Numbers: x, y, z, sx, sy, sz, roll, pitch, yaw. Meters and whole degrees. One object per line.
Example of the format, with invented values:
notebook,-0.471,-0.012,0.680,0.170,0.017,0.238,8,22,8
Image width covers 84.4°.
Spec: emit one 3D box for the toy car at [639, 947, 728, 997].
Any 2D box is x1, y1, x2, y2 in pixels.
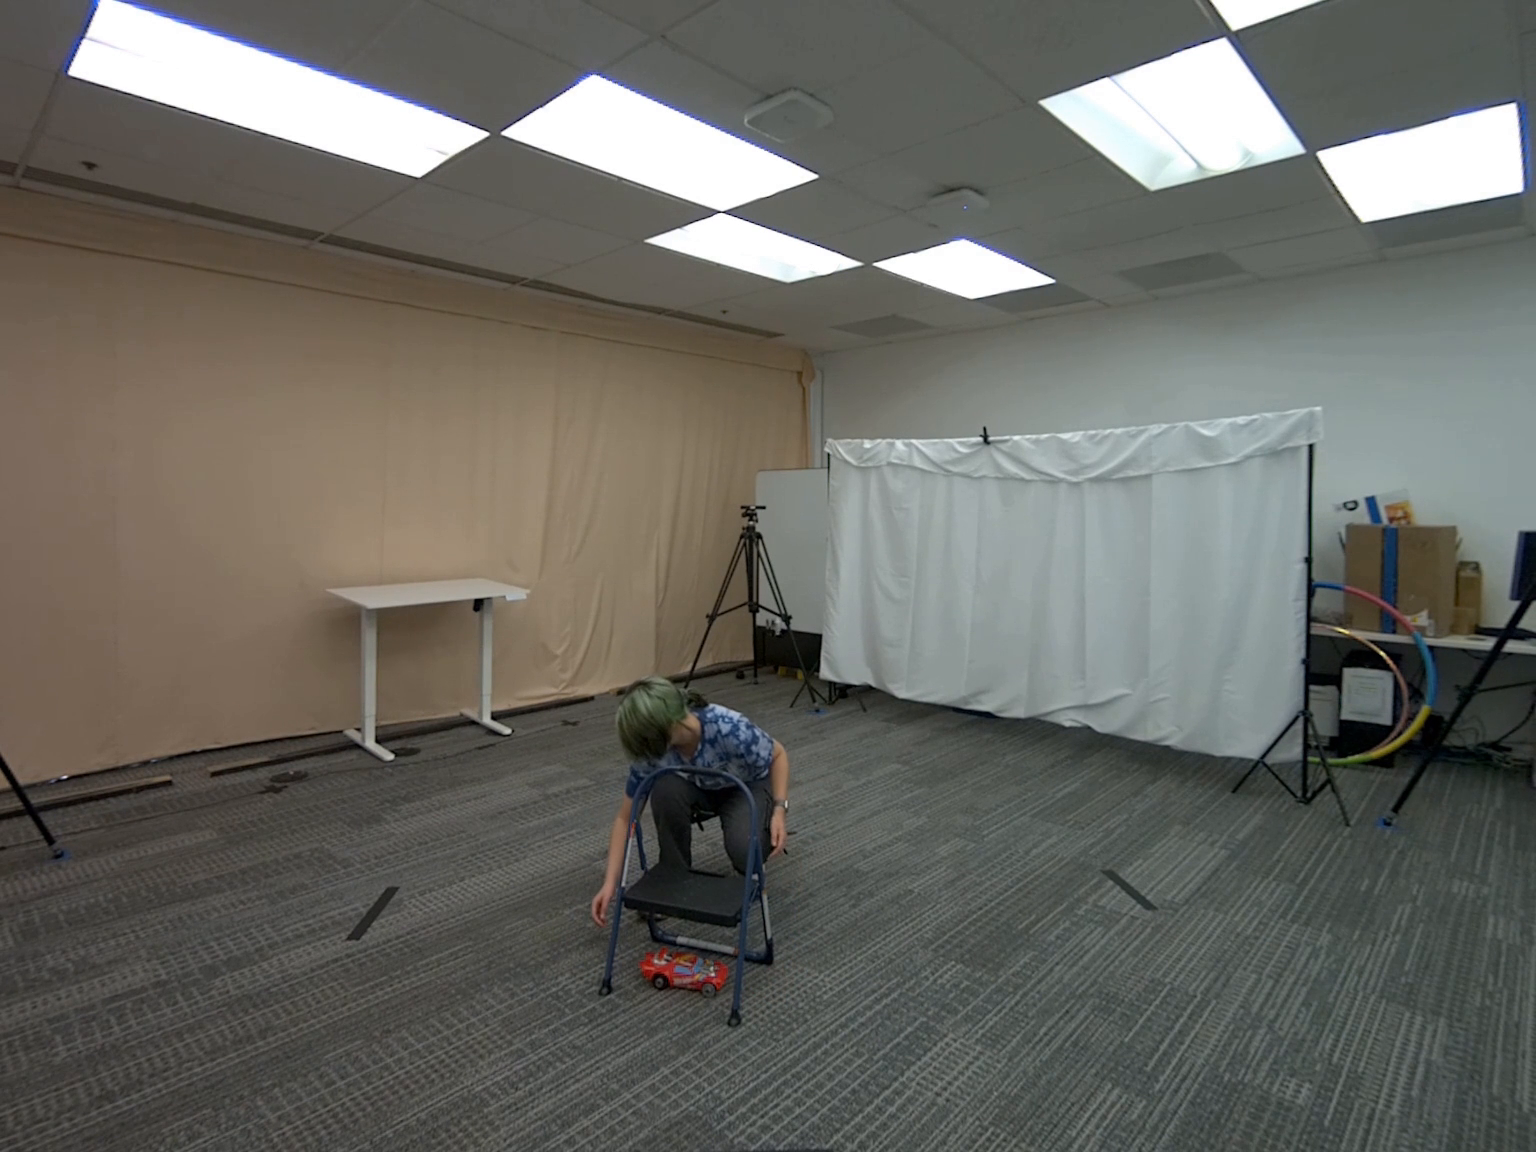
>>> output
toy car,-0.262,1.152,2.464,0.258,0.083,0.129,14,8,12
